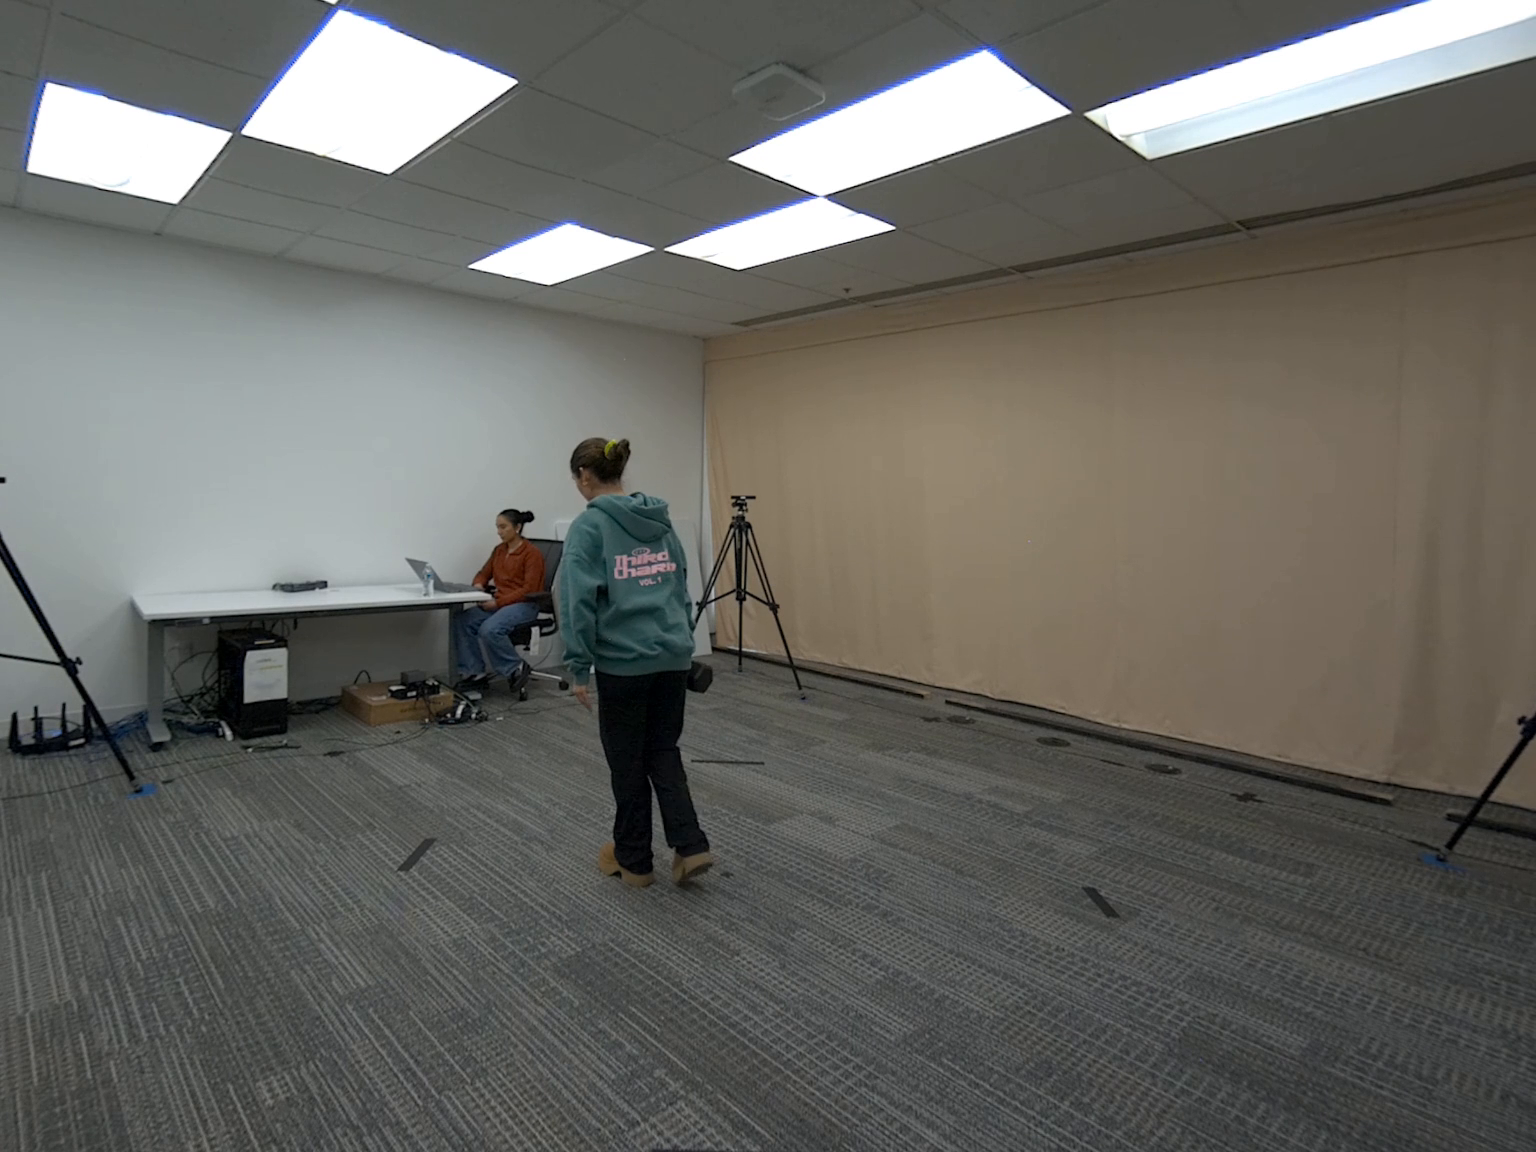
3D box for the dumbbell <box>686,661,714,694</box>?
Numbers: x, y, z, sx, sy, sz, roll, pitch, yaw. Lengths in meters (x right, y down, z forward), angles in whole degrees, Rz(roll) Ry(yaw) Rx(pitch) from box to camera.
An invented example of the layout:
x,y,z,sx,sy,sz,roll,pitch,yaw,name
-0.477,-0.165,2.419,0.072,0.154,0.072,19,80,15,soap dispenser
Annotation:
x,y,z,sx,sy,sz,roll,pitch,yaw,name
-0.360,0.362,3.232,0.301,0.123,0.105,16,-34,35,dumbbell
